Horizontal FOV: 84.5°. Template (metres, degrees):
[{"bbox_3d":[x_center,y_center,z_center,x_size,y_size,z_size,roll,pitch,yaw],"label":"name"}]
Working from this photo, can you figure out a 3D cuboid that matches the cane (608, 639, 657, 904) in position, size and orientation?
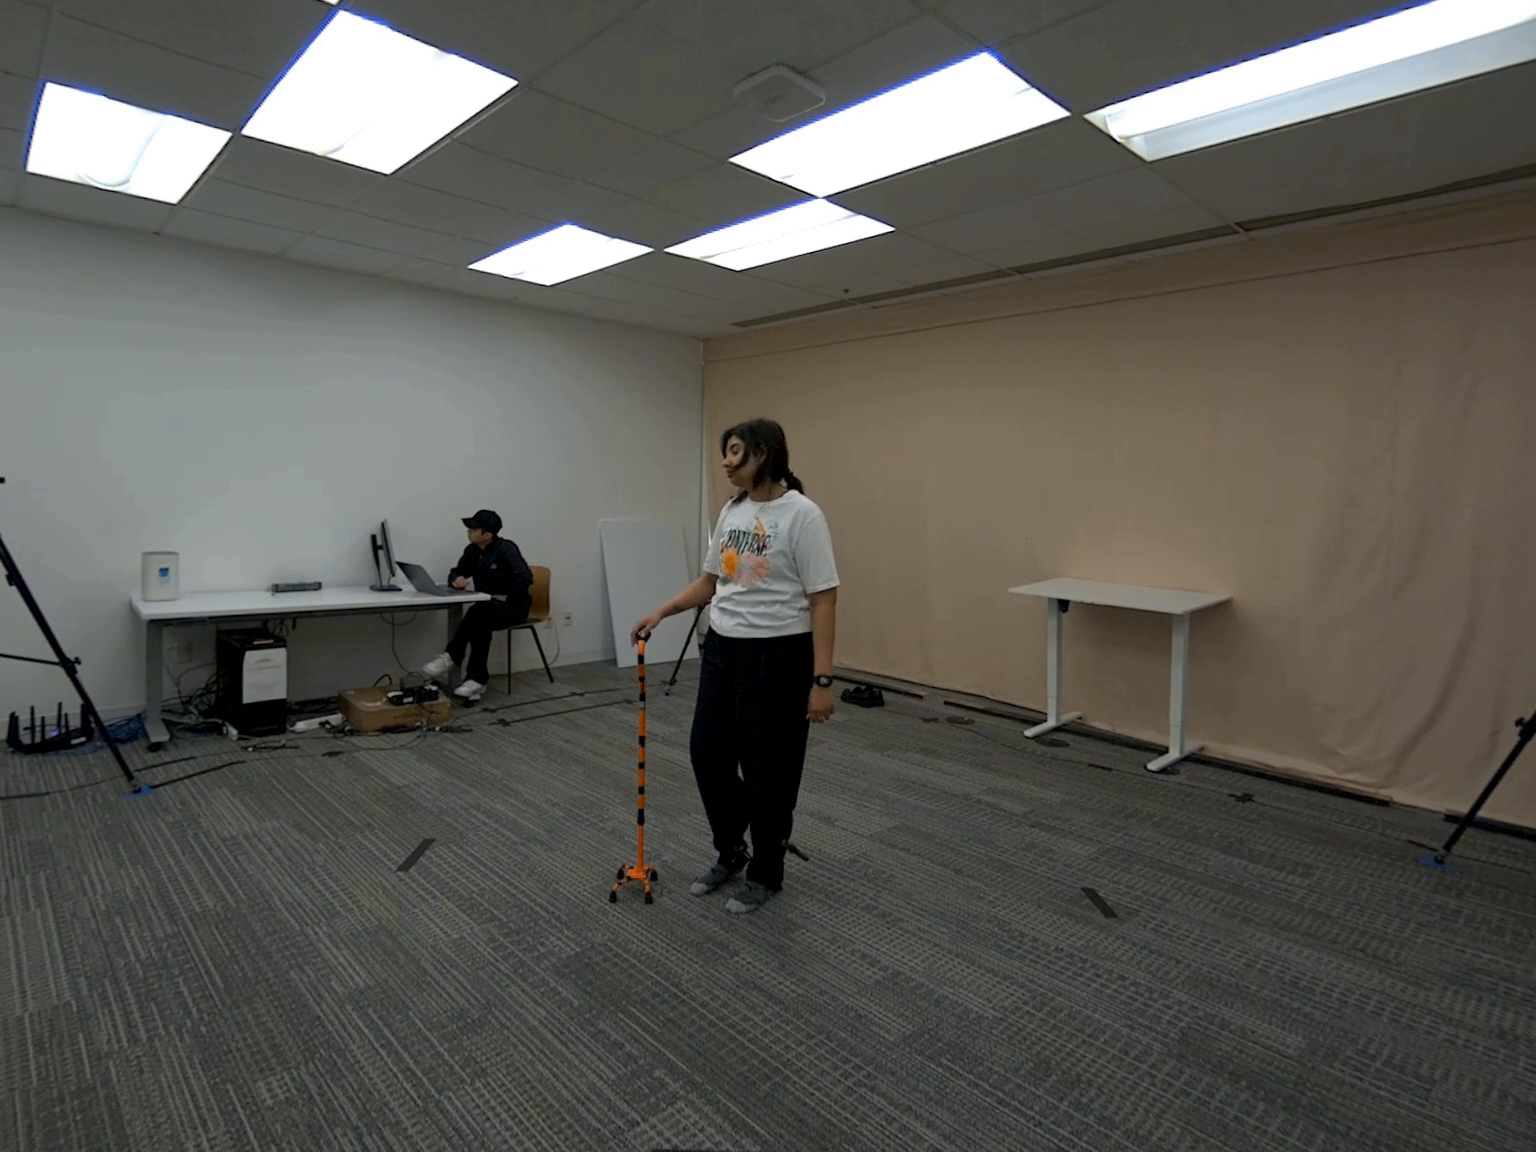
[{"bbox_3d":[-0.461,0.653,2.948,0.152,0.906,0.206,1,2,0],"label":"cane"}]
